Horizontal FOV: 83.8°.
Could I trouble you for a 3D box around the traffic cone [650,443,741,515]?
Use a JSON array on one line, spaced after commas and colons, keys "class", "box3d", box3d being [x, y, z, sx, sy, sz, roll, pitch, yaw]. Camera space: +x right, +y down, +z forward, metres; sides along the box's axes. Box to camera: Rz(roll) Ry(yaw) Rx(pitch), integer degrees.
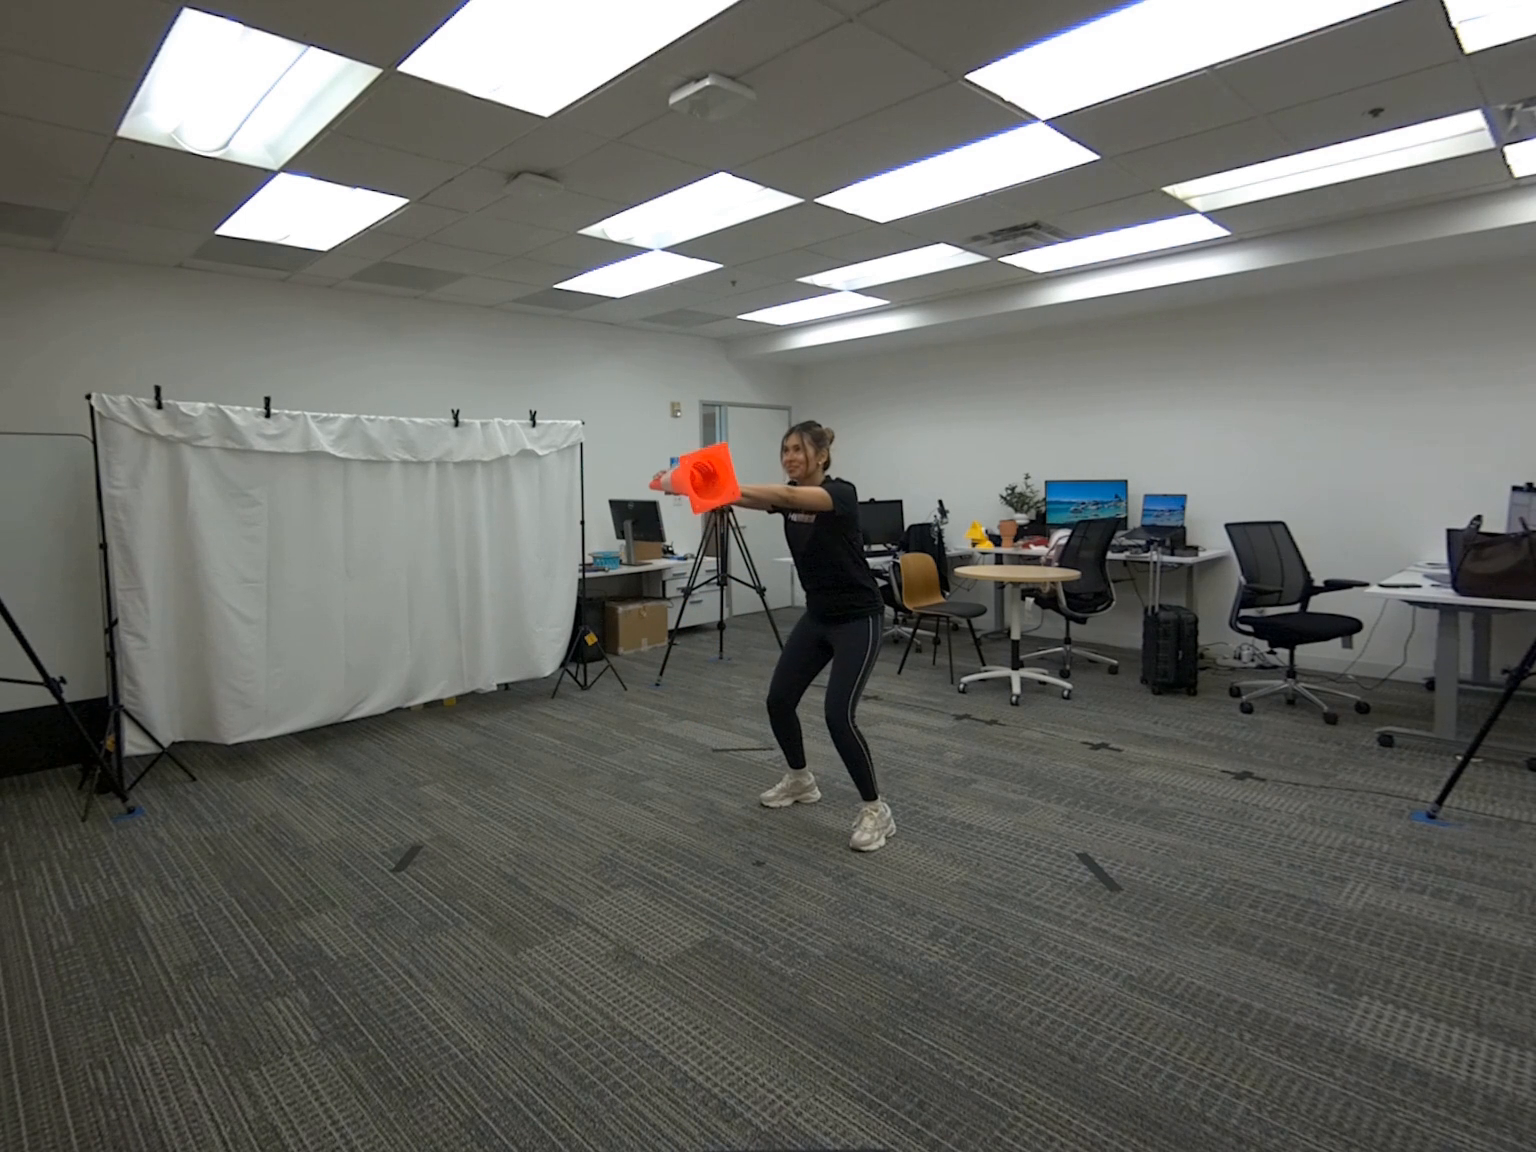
[{"class": "traffic cone", "box3d": [-0.292, -0.320, 2.964, 0.200, 0.203, 0.394, -22, 13, -33]}]
